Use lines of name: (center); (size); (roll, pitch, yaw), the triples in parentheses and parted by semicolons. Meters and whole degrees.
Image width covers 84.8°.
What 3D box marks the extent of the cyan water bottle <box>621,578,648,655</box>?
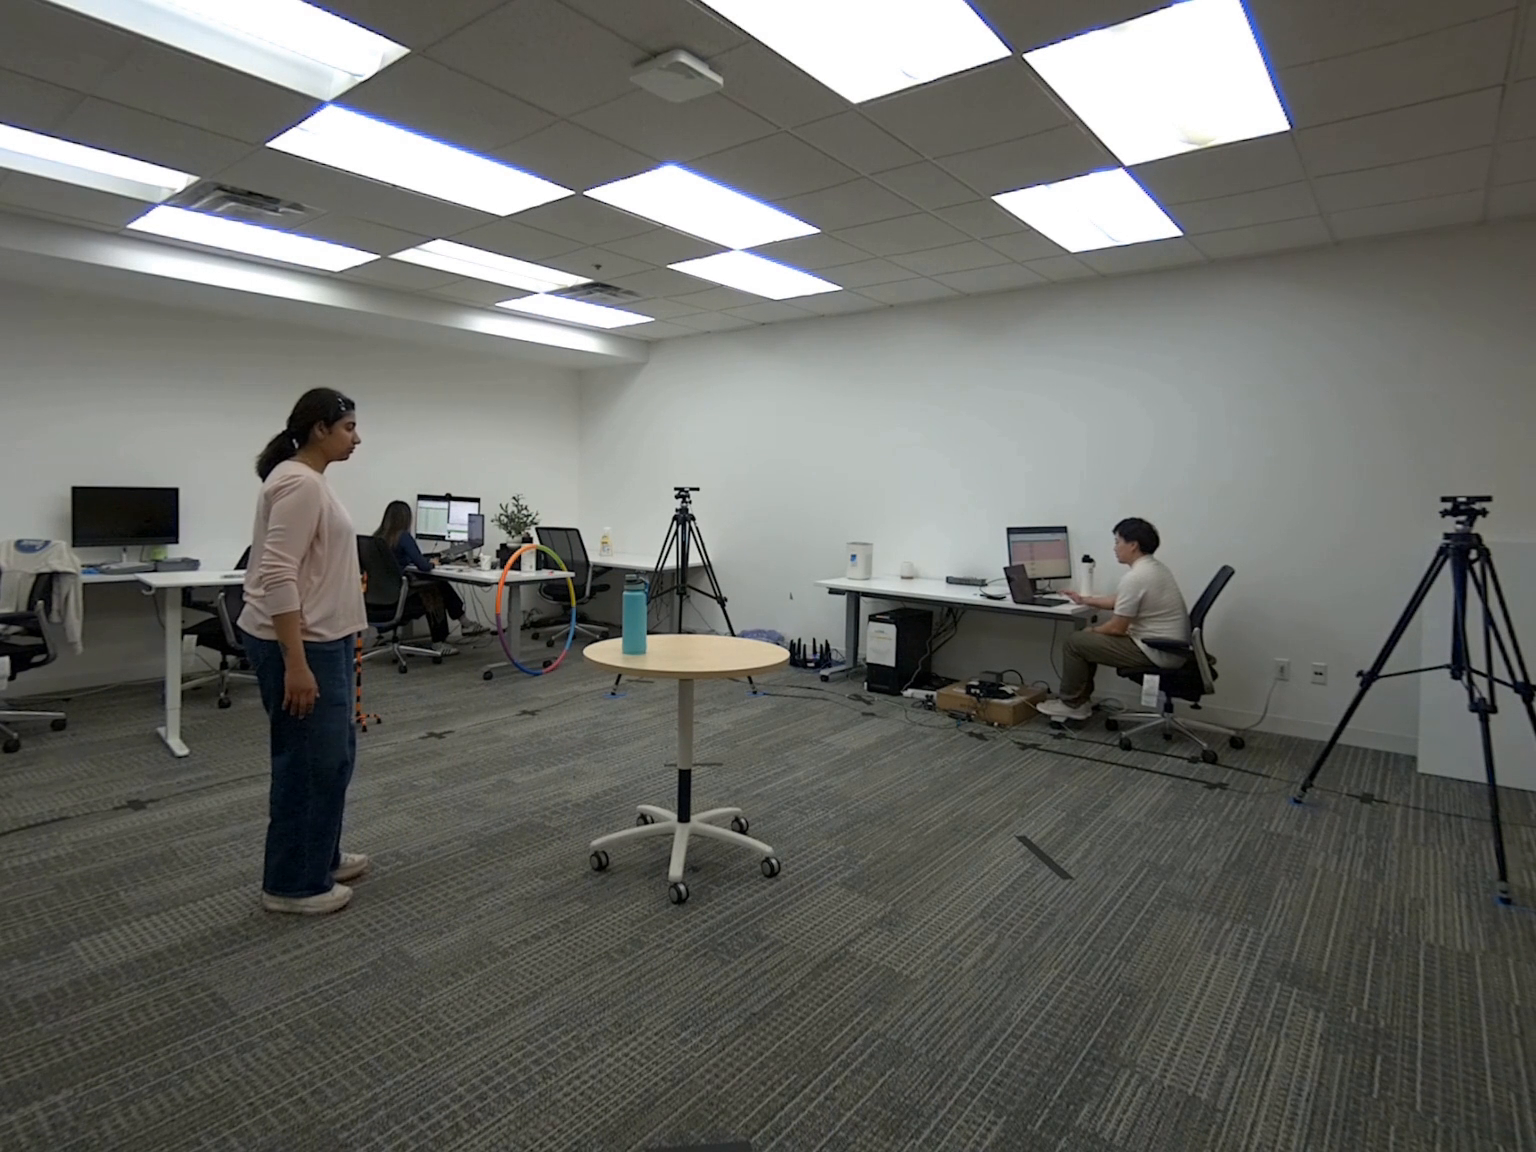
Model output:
cyan water bottle: (-0.503, 0.141, 3.102); (0.092, 0.283, 0.092); (1, 2, -2)
